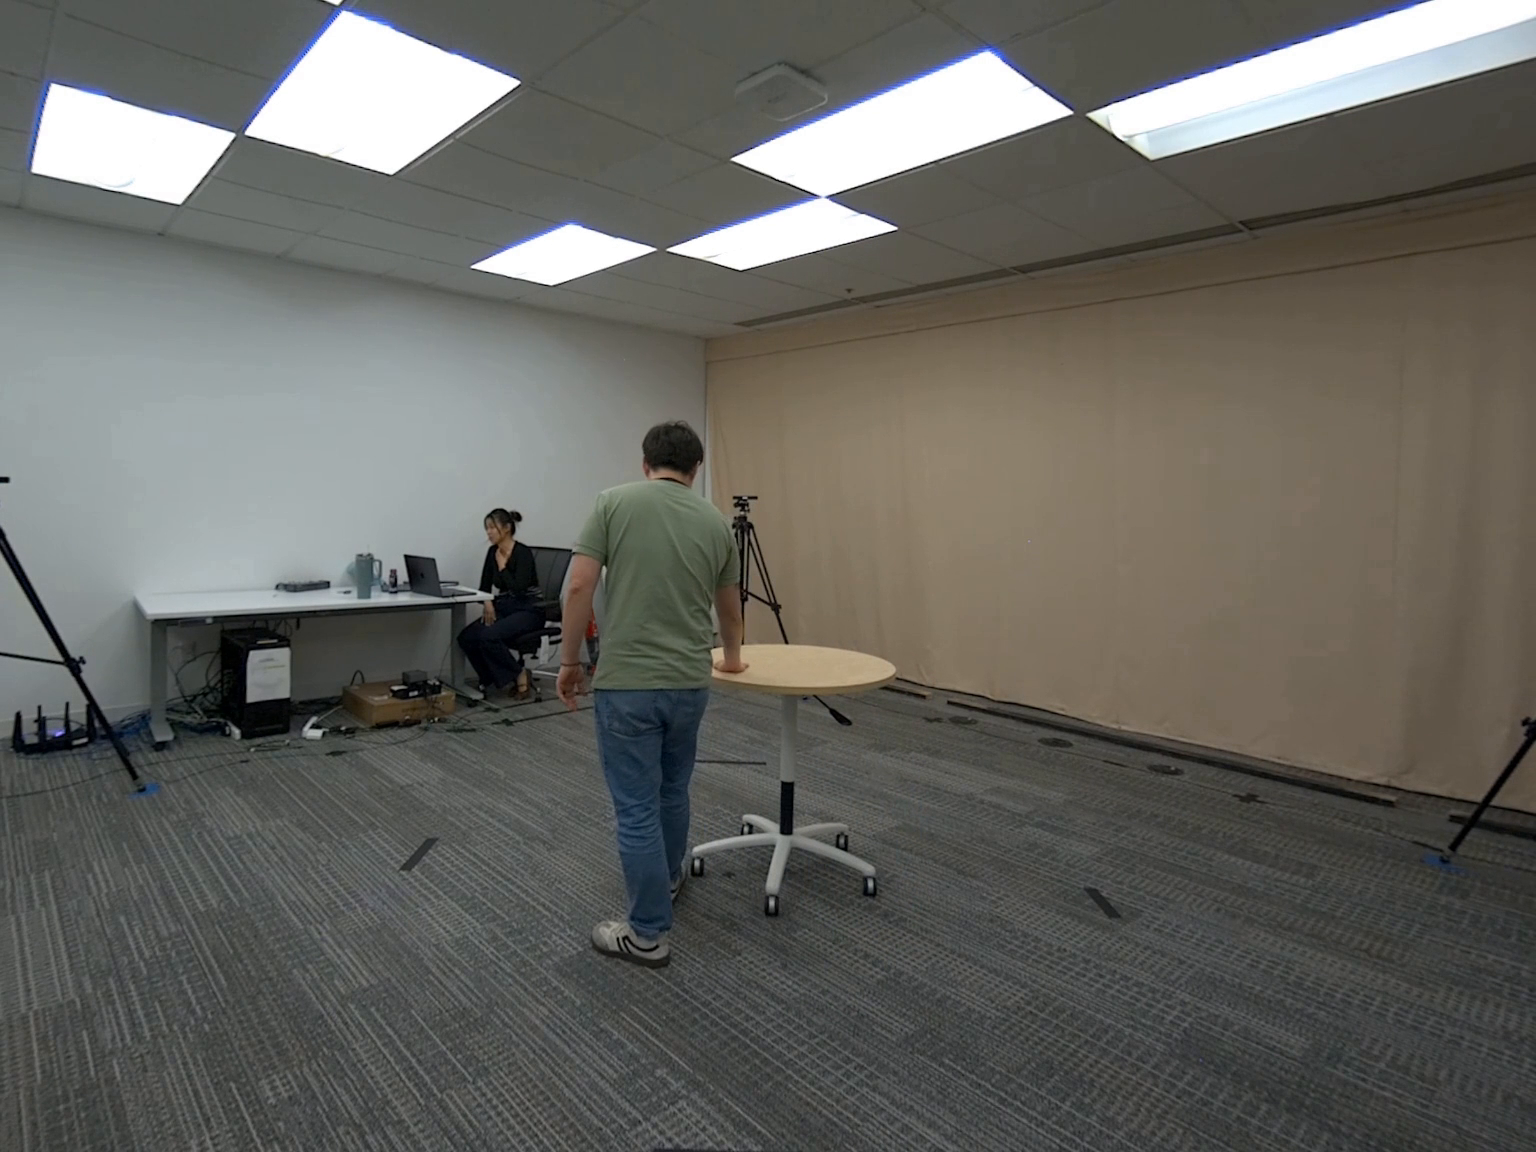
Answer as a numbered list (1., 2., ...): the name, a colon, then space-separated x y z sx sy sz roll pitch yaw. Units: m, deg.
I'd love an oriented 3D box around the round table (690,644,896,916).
1. round table: 0.069 0.716 3.138 0.763 0.792 0.766 1 4 -1
